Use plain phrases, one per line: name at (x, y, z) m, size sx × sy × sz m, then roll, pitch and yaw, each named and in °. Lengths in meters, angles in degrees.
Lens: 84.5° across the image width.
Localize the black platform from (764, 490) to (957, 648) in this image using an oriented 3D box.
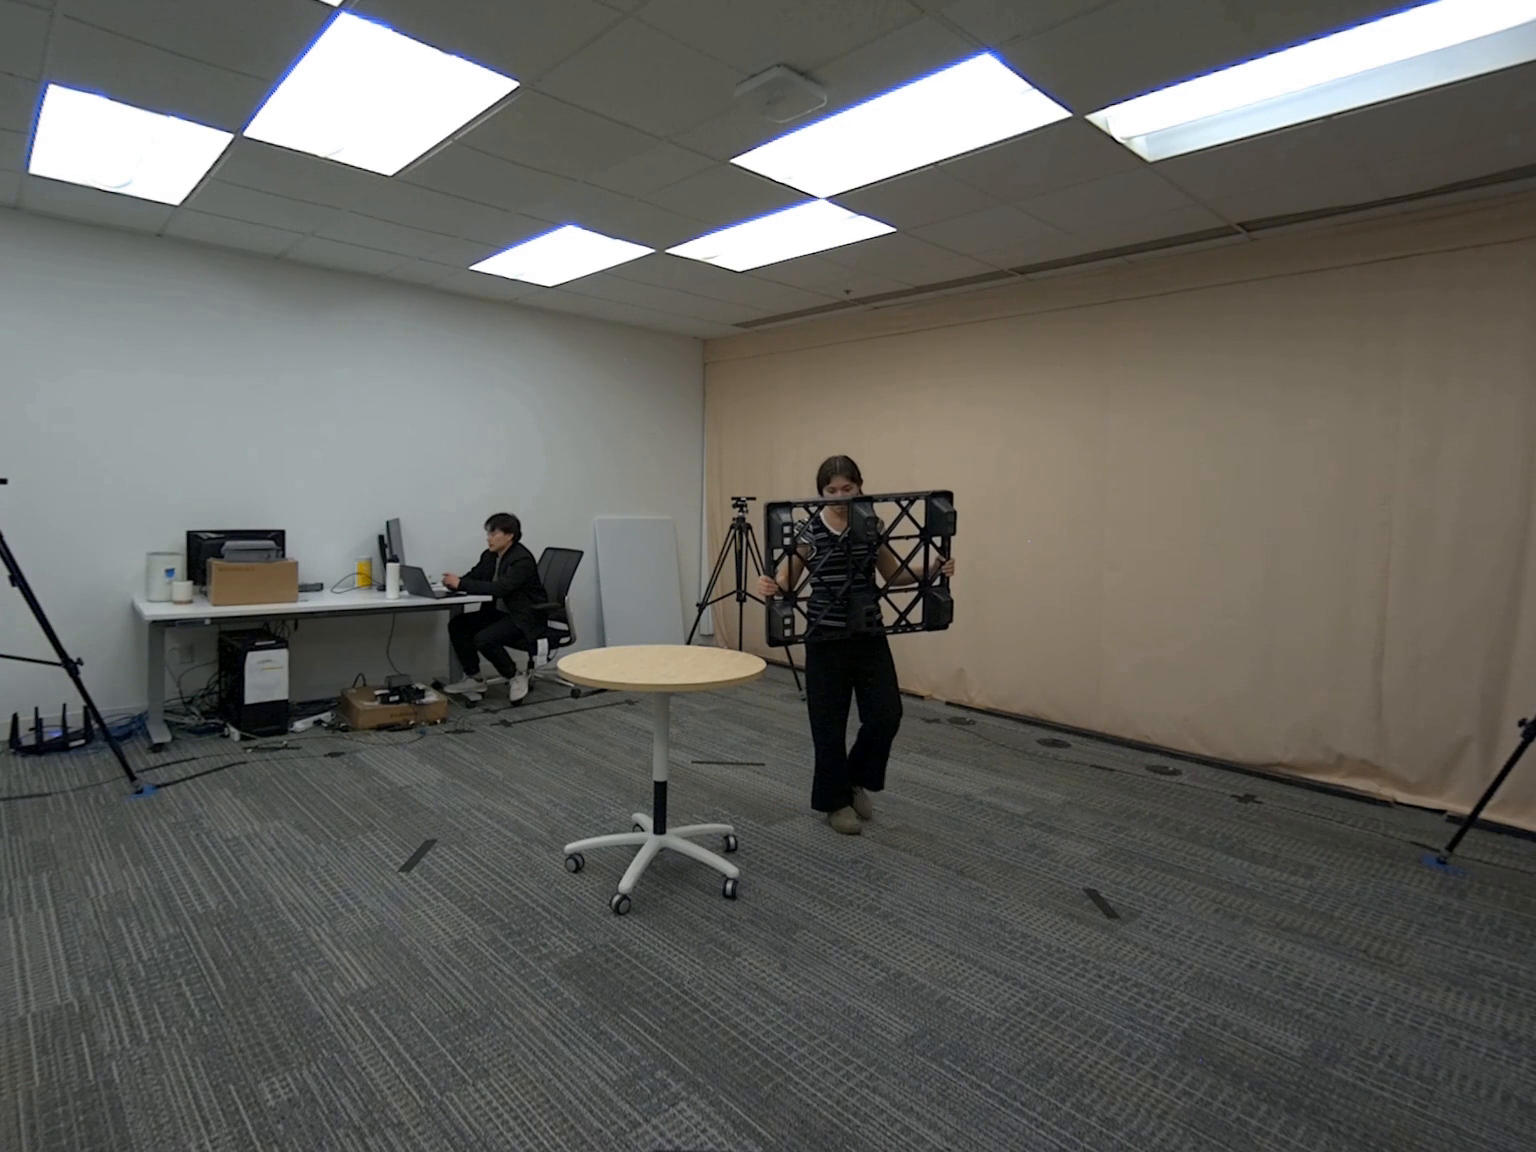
black platform at (0.383, -0.023, 3.392) m, size 0.799 × 0.599 × 0.146 m, roll -4°, pitch 12°, yaw -11°
